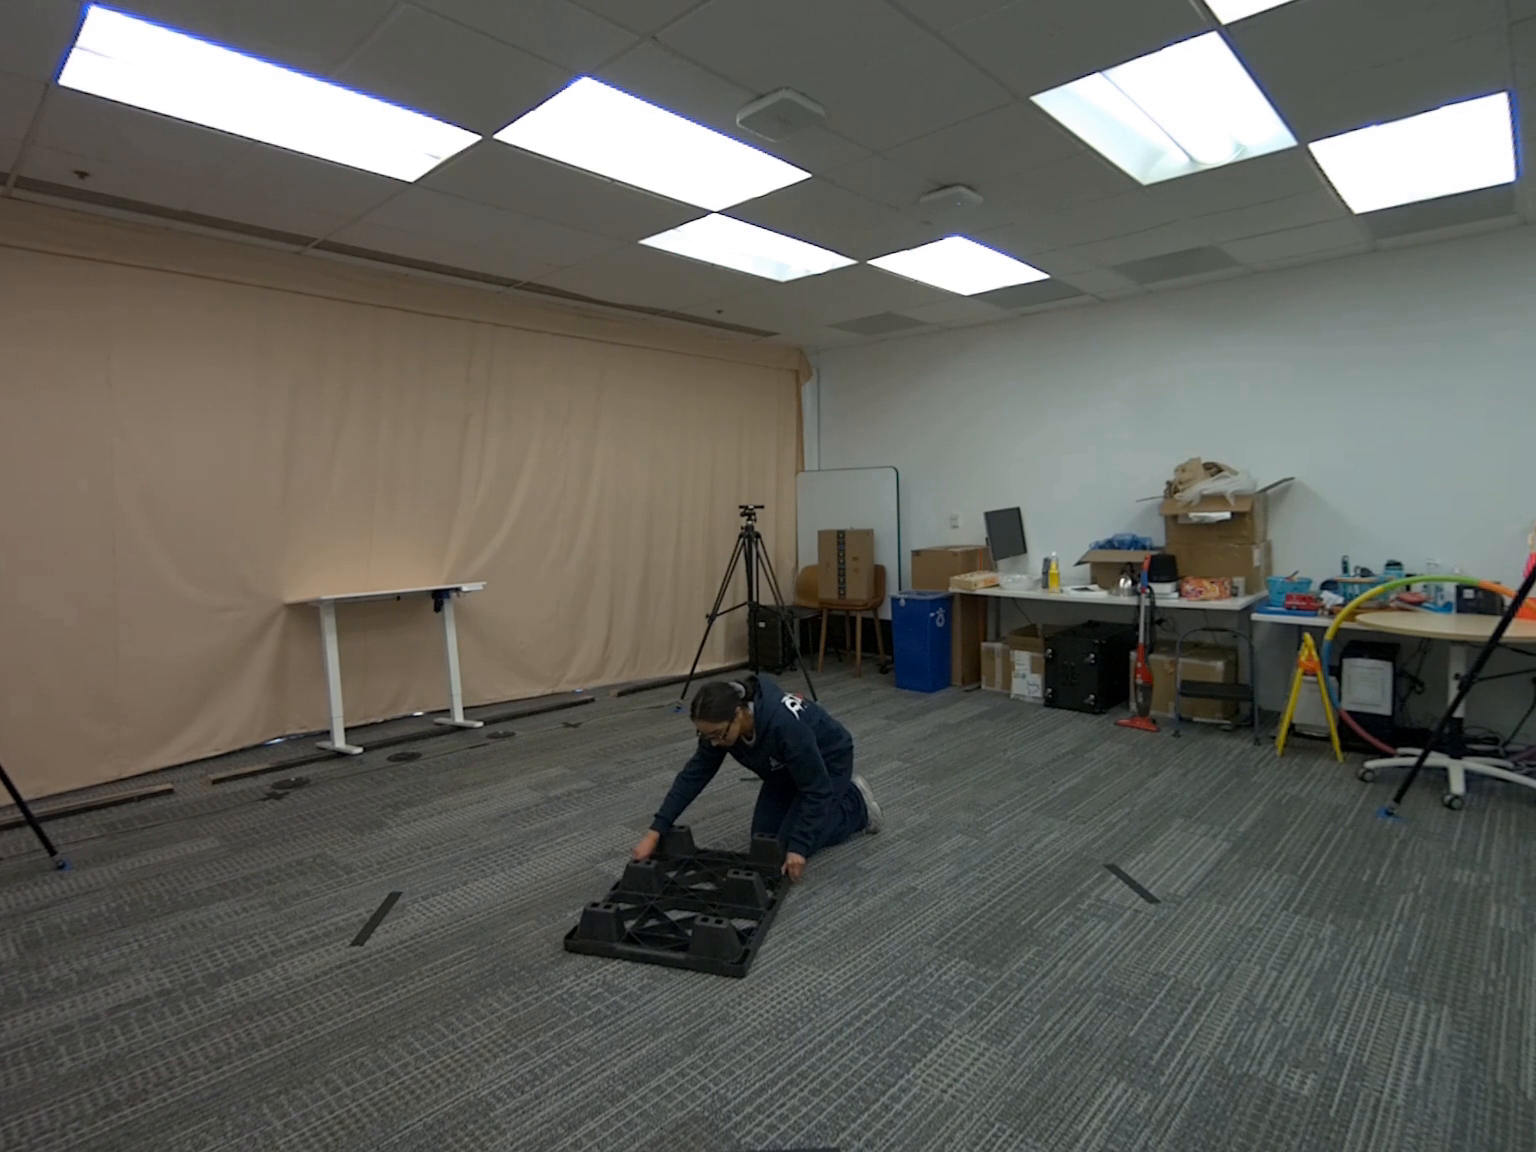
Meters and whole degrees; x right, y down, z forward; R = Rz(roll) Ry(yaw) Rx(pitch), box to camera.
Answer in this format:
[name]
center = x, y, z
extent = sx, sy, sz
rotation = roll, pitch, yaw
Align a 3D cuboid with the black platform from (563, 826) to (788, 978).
[black platform]
center = -0.270, 1.085, 2.937
extent = 0.616, 0.143, 0.793
rotation = 1, 5, 16
